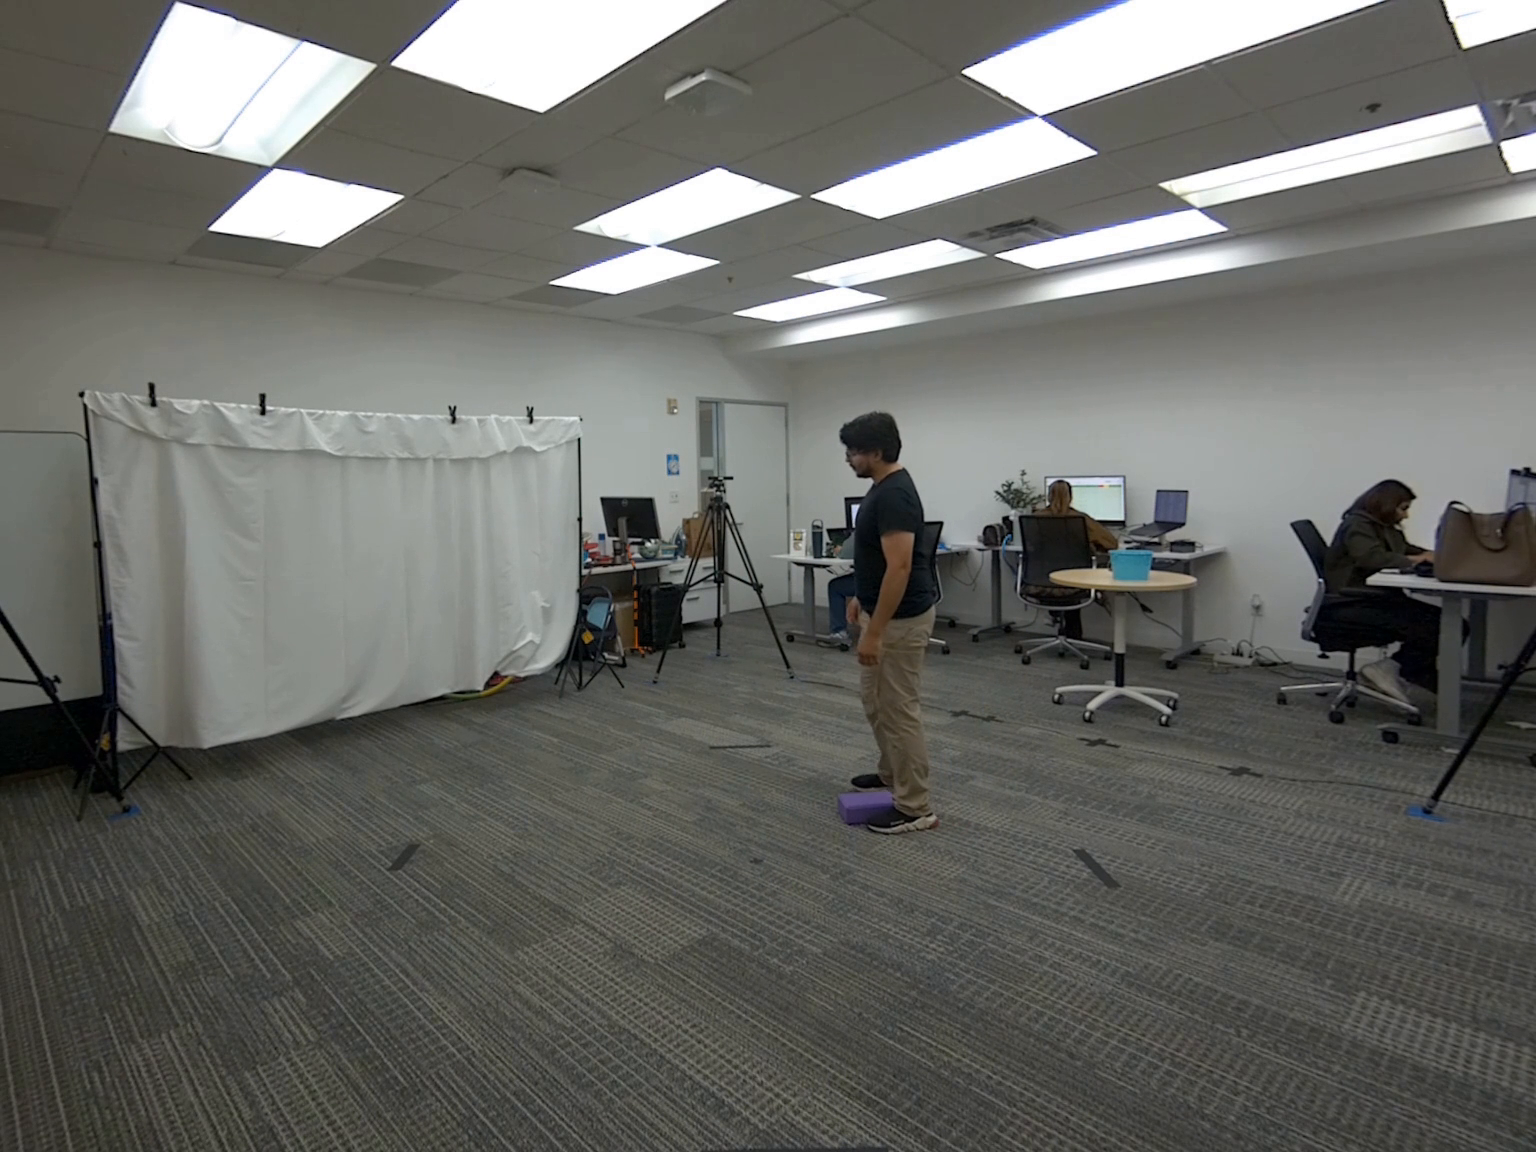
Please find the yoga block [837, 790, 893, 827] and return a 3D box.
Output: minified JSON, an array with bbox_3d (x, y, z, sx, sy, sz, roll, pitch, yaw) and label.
[{"bbox_3d":[0.416,0.947,3.491,0.227,0.076,0.151,-3,6,-9],"label":"yoga block"}]
